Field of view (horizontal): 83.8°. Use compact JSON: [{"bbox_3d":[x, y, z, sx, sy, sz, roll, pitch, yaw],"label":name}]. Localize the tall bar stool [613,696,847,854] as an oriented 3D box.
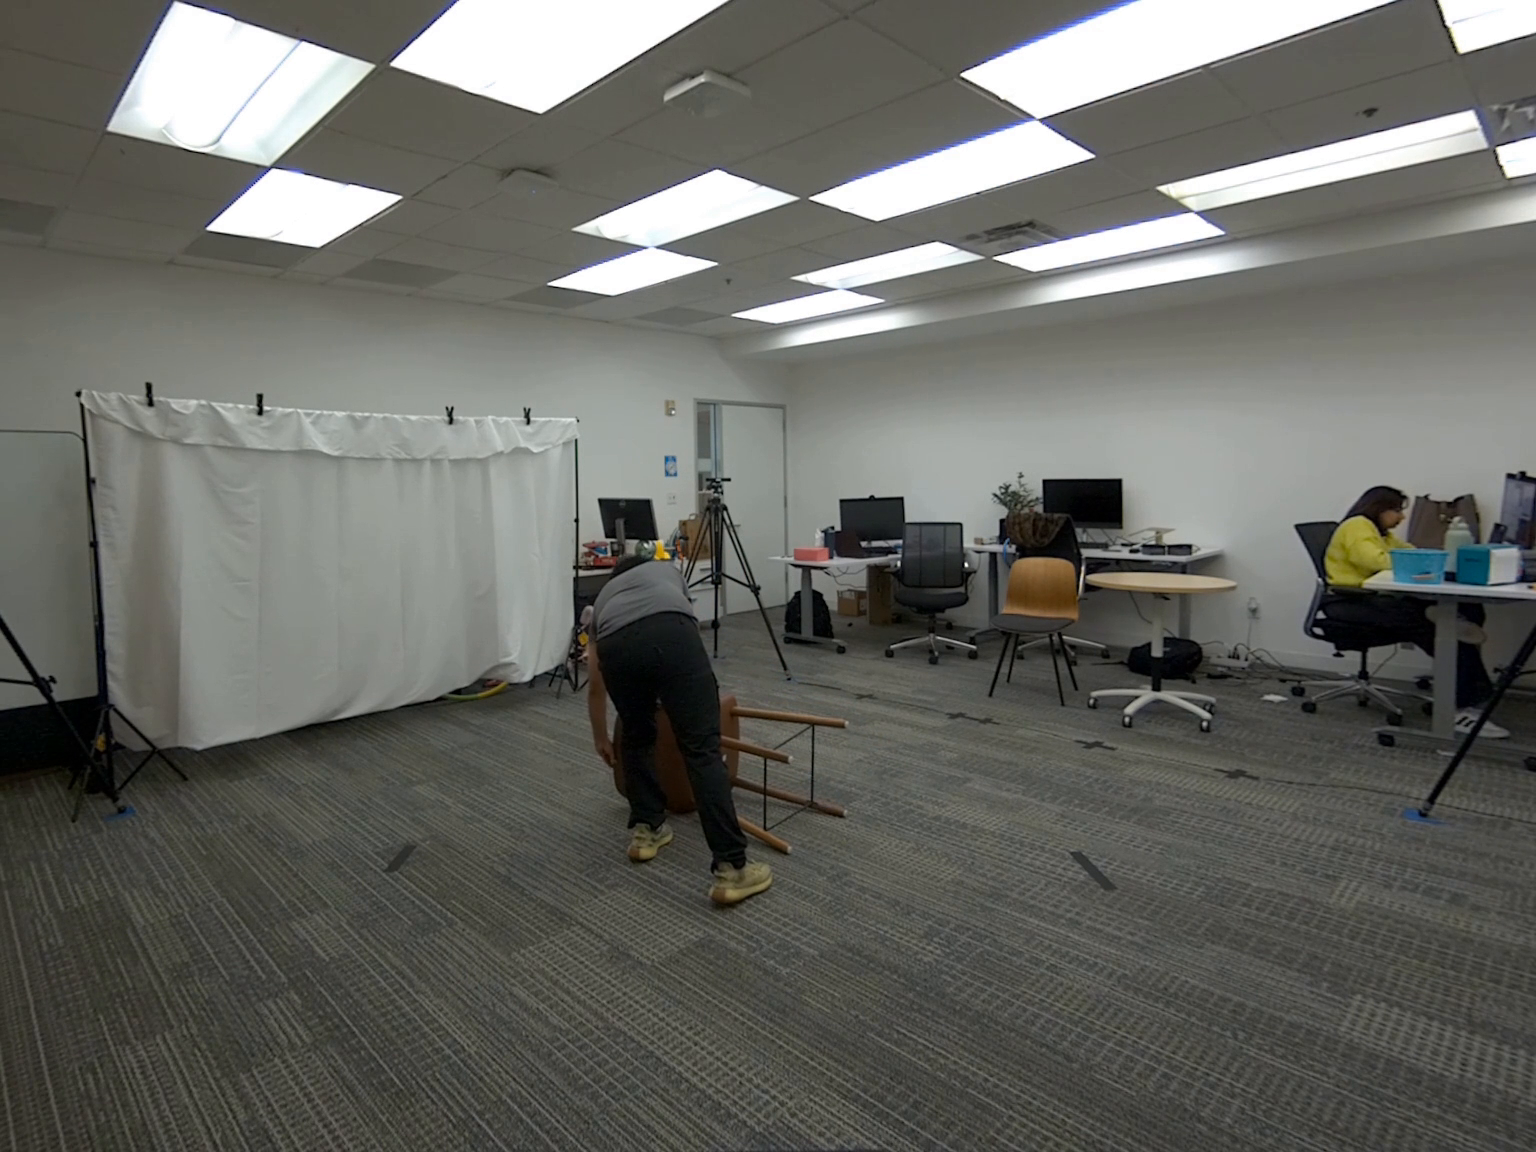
[{"bbox_3d":[-0.164,0.779,3.578,0.916,0.453,0.457,6,10,33],"label":"tall bar stool"}]
